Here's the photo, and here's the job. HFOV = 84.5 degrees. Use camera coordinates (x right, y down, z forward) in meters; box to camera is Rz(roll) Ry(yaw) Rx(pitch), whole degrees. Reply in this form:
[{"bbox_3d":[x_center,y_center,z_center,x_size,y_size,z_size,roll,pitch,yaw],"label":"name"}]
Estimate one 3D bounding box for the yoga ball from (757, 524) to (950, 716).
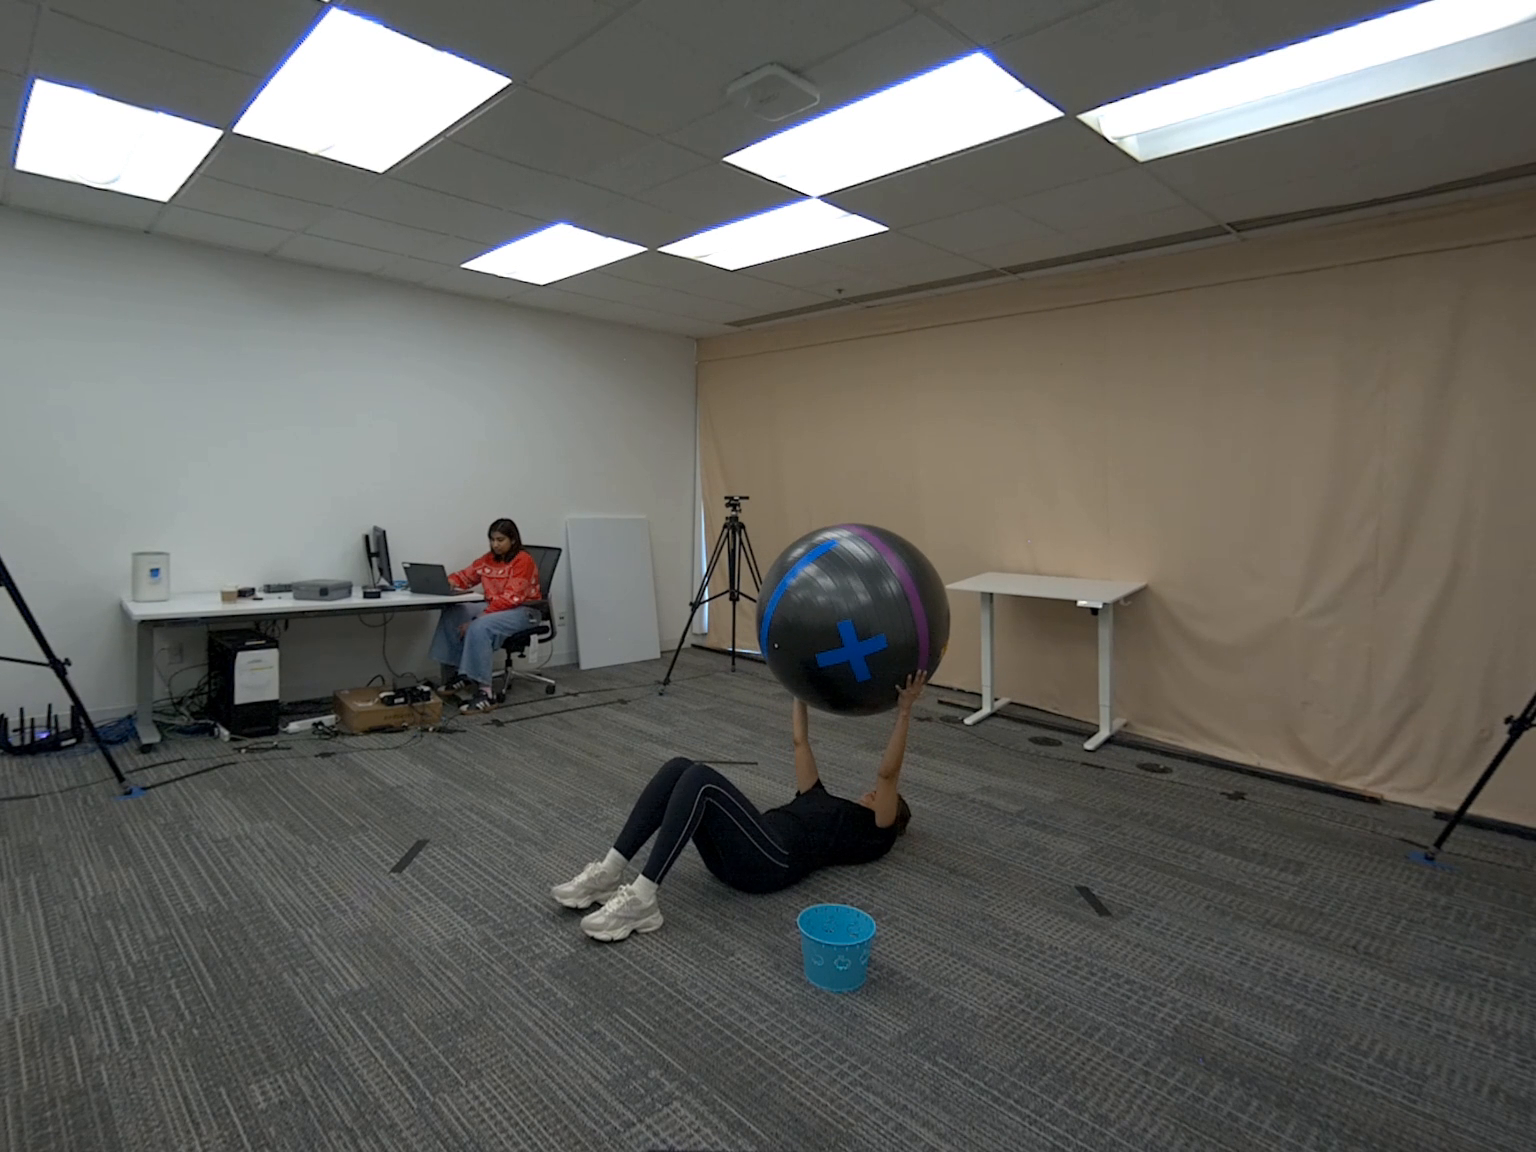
[{"bbox_3d":[0.323,0.174,3.321,0.757,0.754,0.762,0,7,-1],"label":"yoga ball"}]
